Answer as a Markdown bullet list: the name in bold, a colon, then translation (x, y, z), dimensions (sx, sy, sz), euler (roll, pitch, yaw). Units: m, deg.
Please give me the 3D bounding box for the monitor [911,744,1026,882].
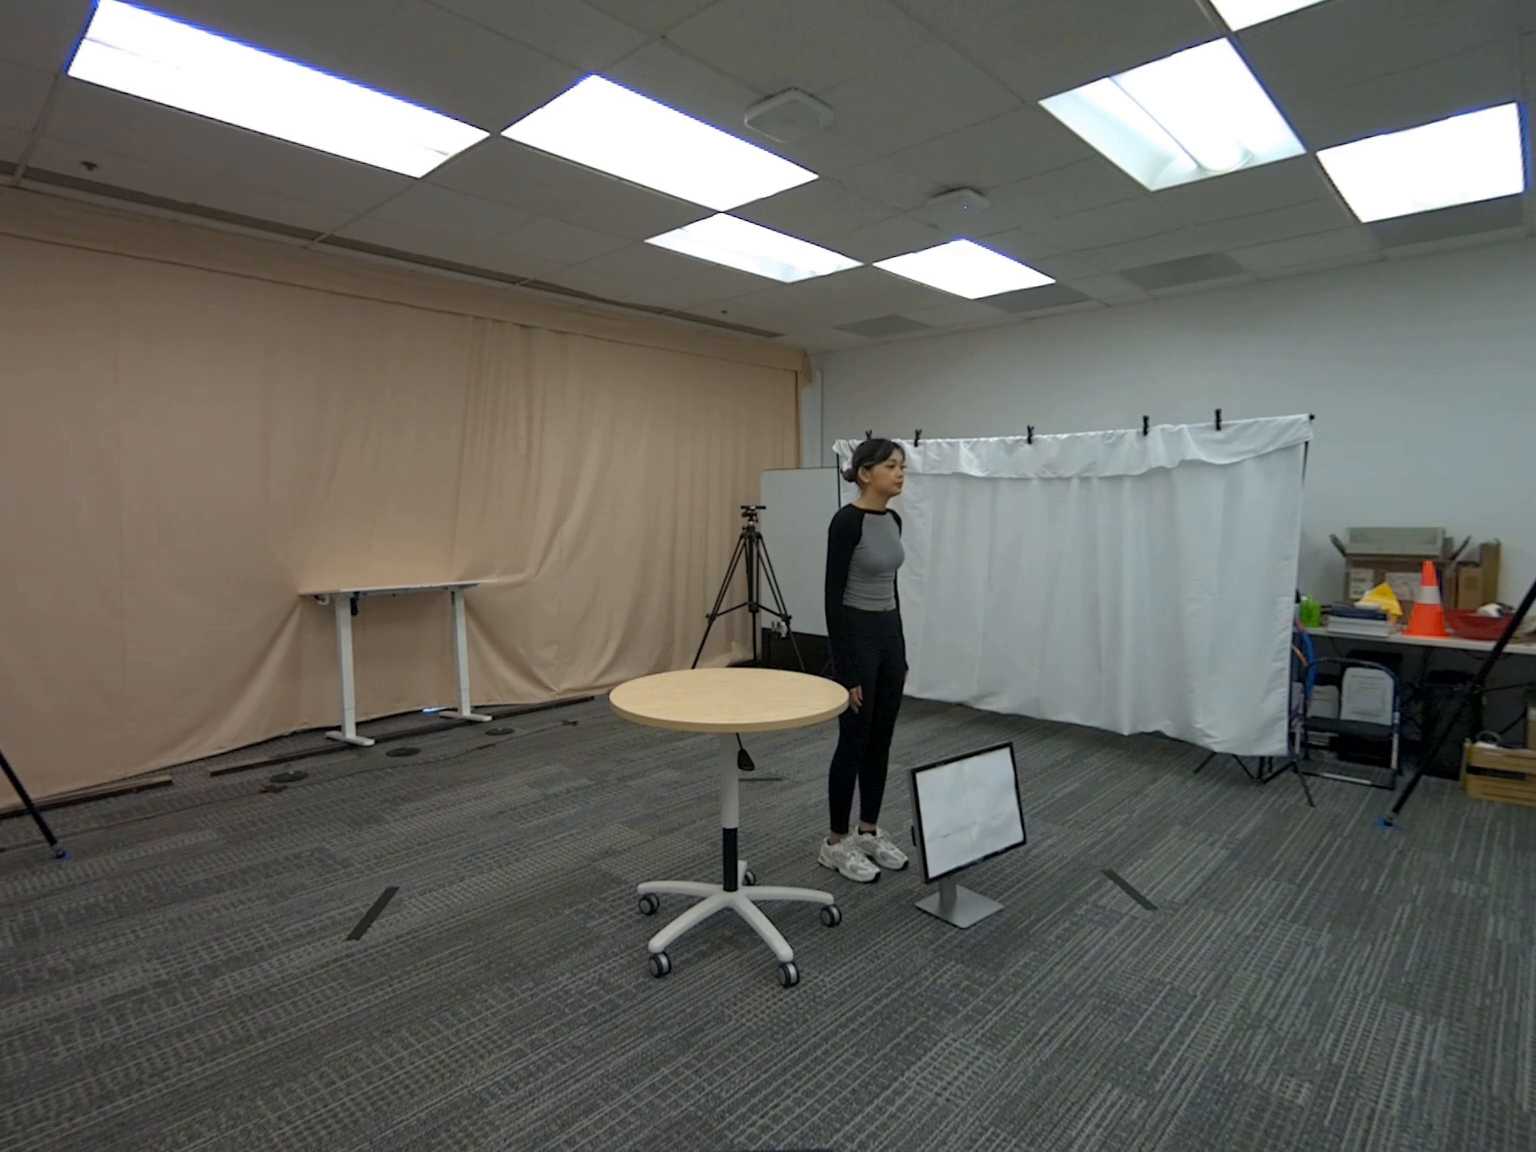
- **monitor**: translation (0.672, 0.886, 2.894), dimensions (0.522, 0.521, 0.193), euler (-3, 7, -41)
